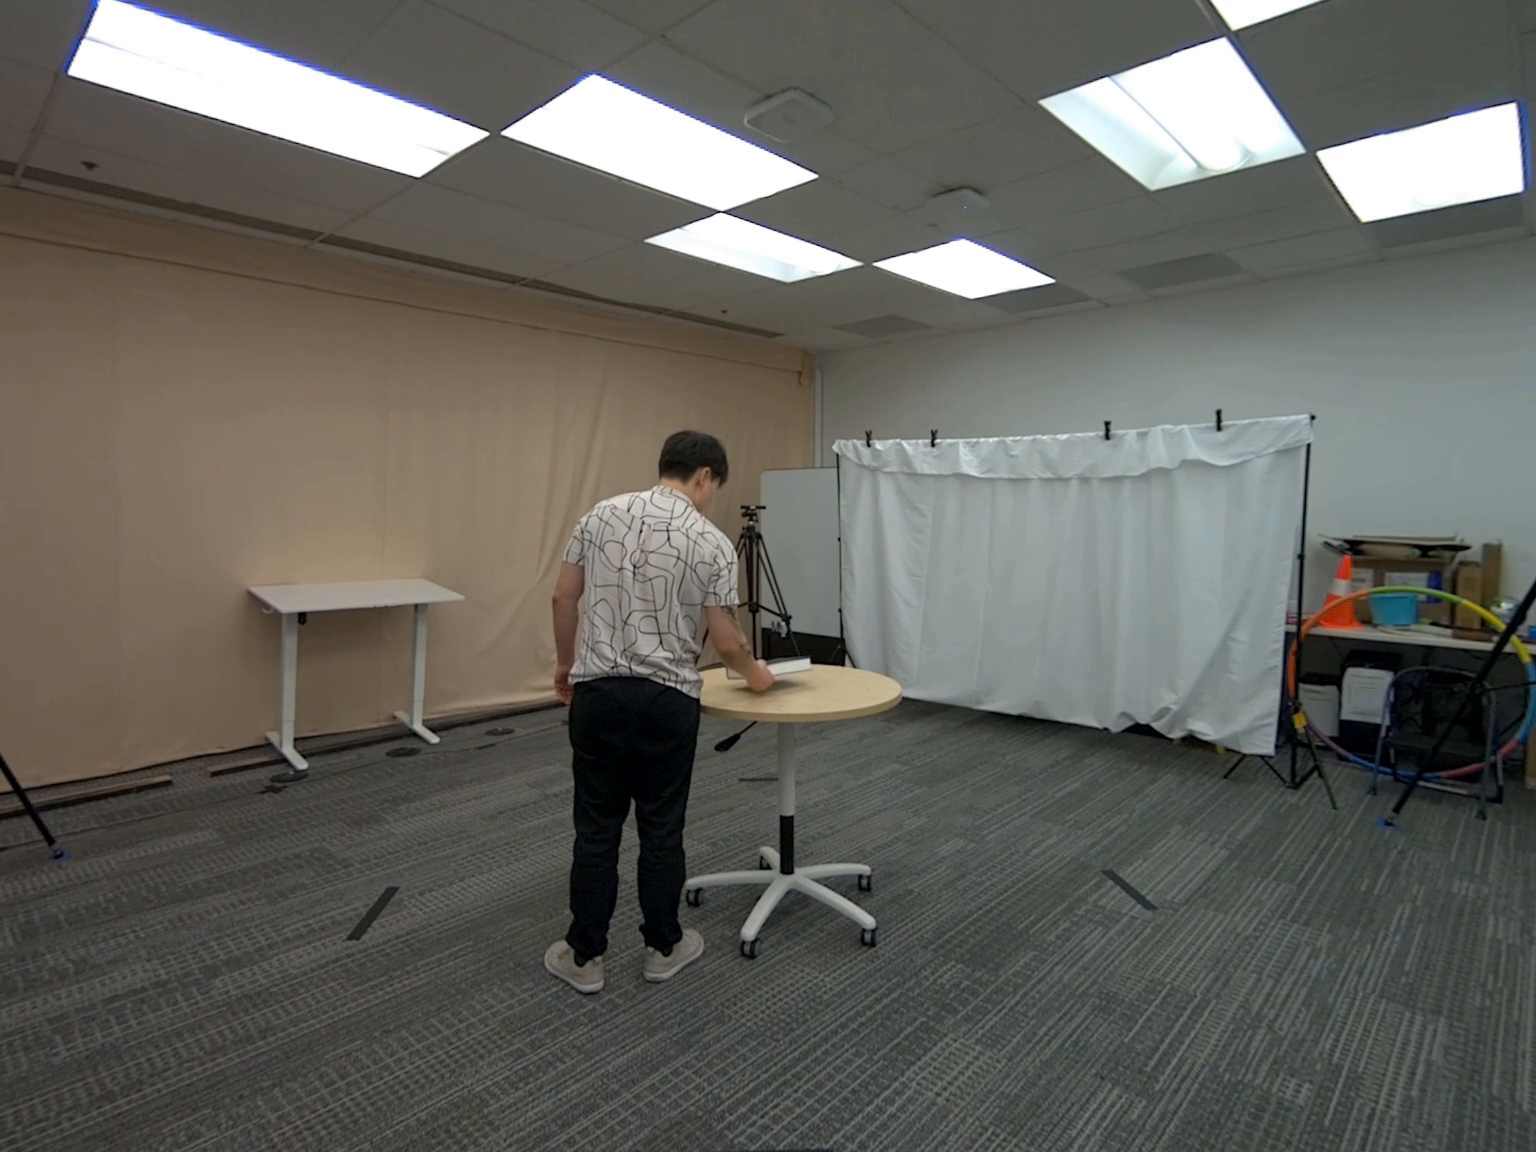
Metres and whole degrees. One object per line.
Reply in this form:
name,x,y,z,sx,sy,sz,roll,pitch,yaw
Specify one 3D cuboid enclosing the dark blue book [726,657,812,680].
dark blue book,0.004,0.309,2.826,0.238,0.045,0.168,-6,-2,-36
